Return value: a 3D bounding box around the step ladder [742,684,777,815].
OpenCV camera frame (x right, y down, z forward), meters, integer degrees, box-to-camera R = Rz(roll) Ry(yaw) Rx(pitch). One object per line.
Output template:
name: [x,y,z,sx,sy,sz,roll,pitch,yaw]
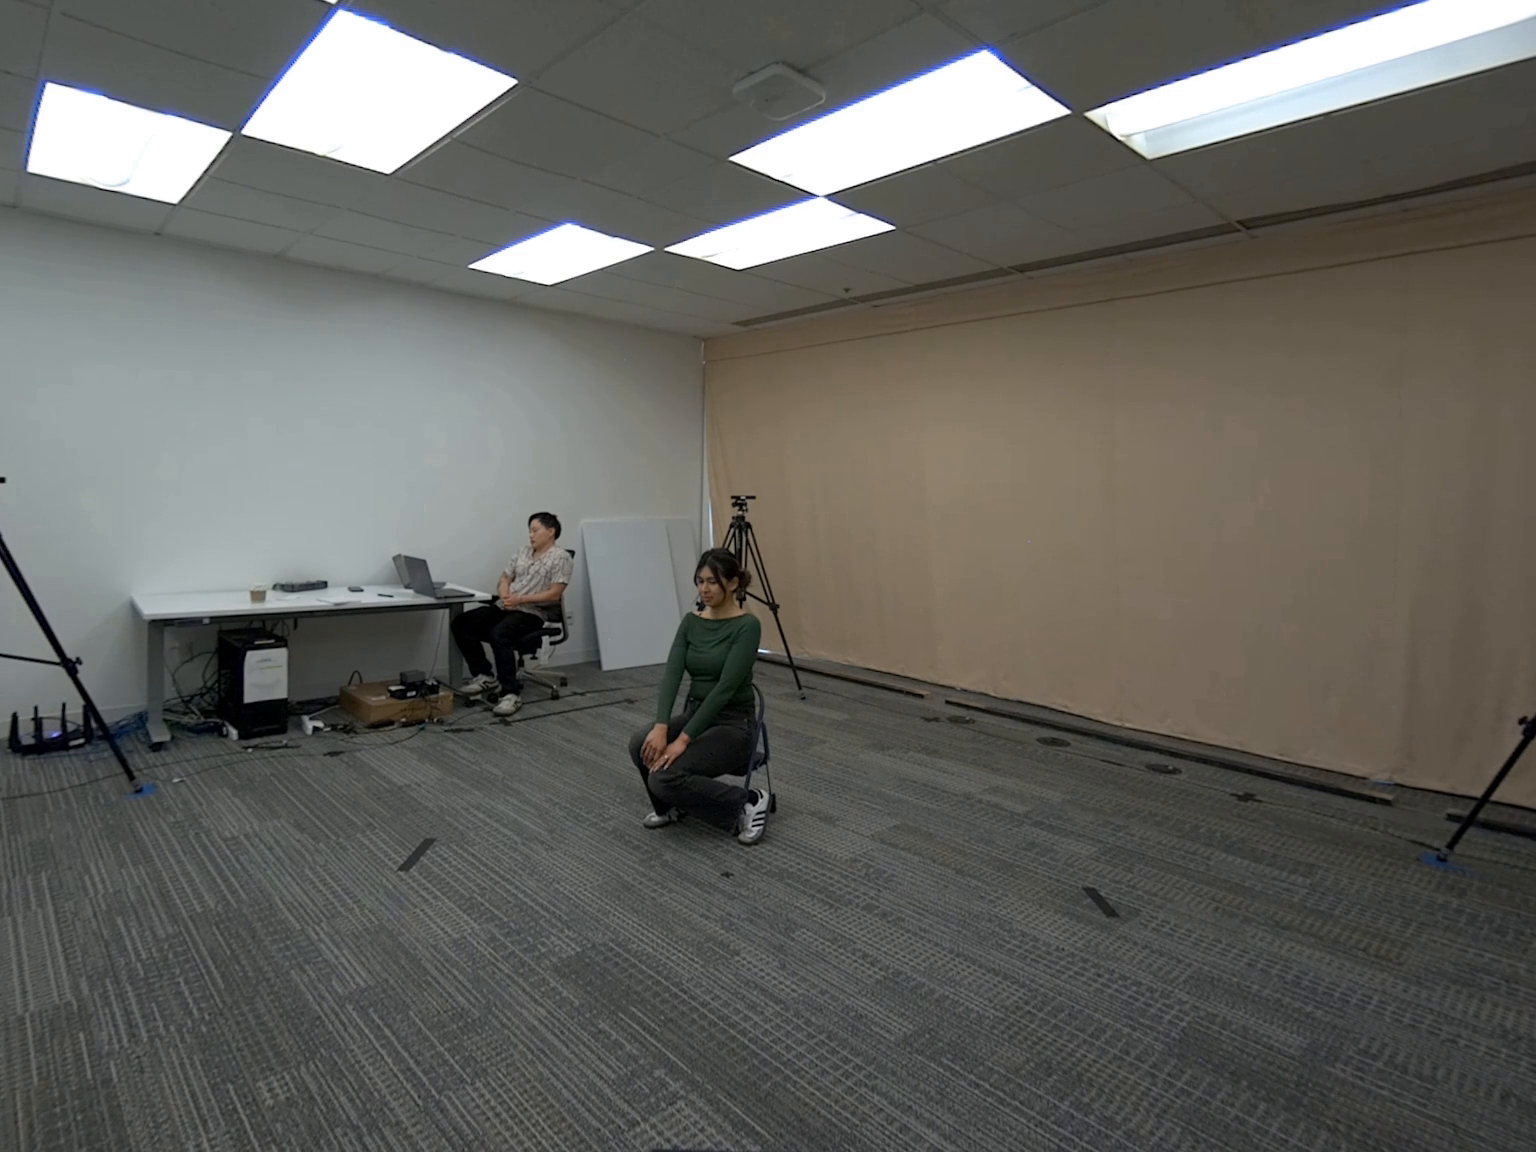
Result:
step ladder: [-0.218,0.753,3.702,0.440,0.605,0.342,4,3,30]
